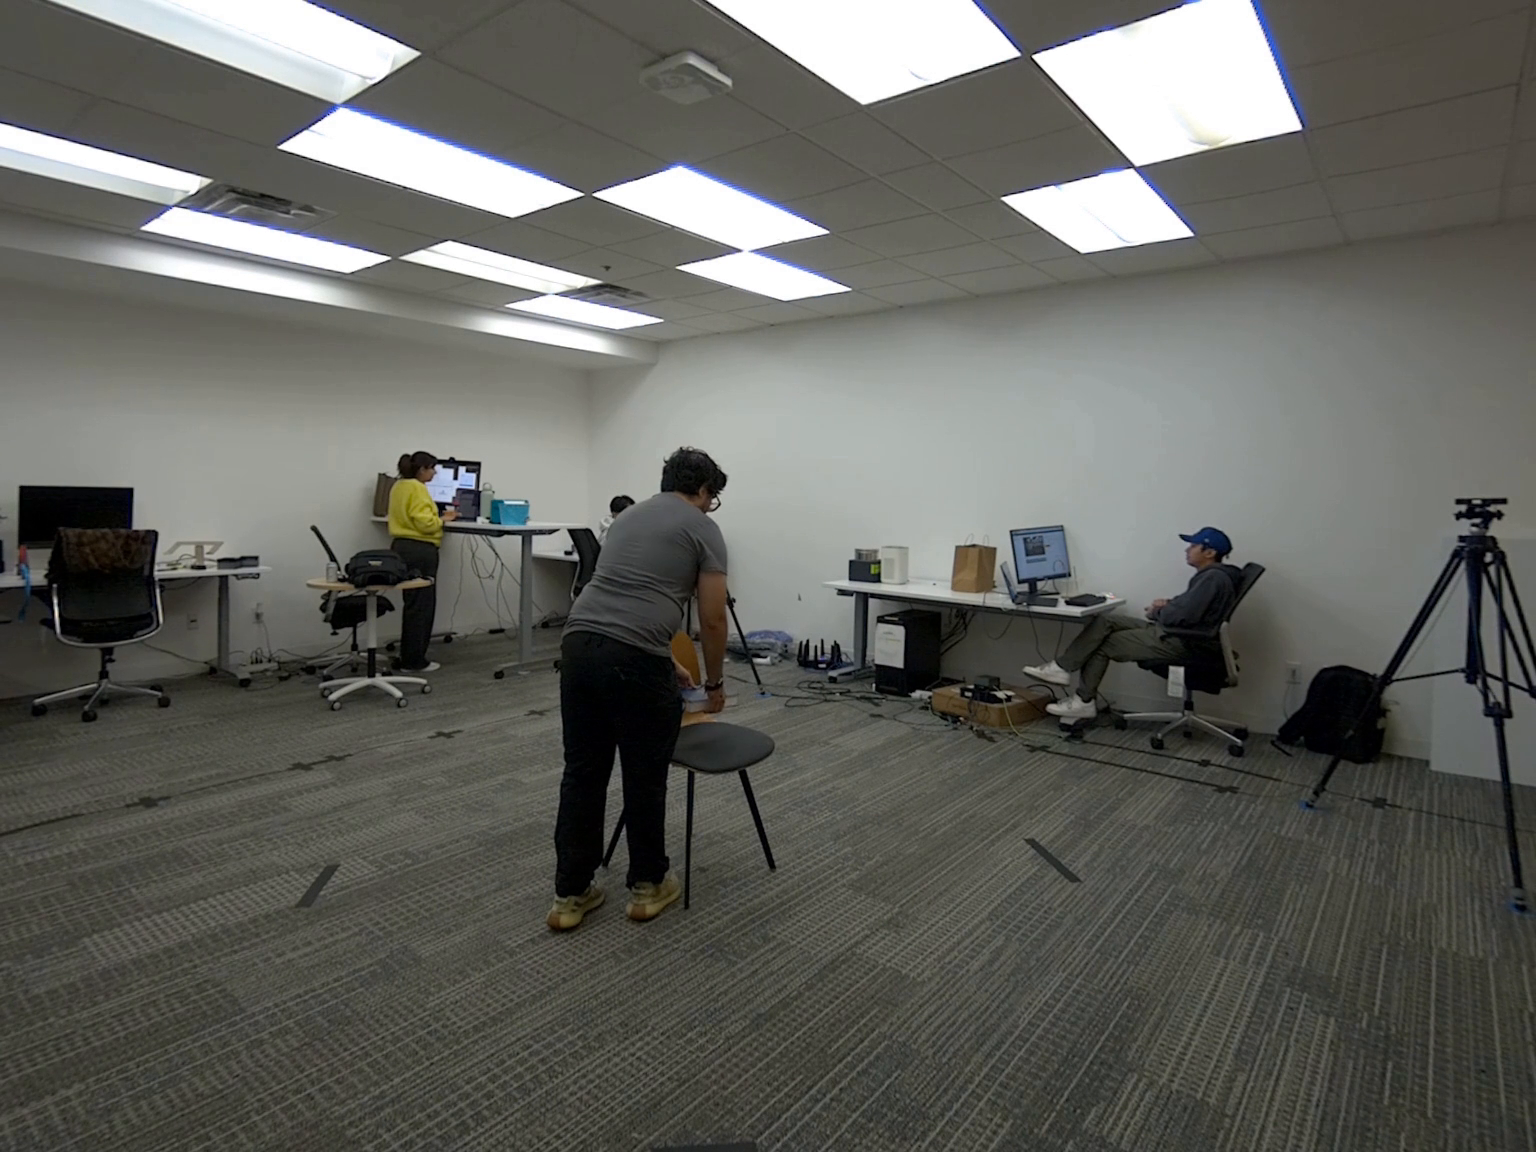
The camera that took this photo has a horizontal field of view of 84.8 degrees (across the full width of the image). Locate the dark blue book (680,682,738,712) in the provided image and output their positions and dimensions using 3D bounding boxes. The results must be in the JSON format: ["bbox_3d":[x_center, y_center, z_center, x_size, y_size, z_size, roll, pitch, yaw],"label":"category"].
[{"bbox_3d":[-0.256,0.431,3.028,0.237,0.045,0.169,1,7,-45],"label":"dark blue book"}]
